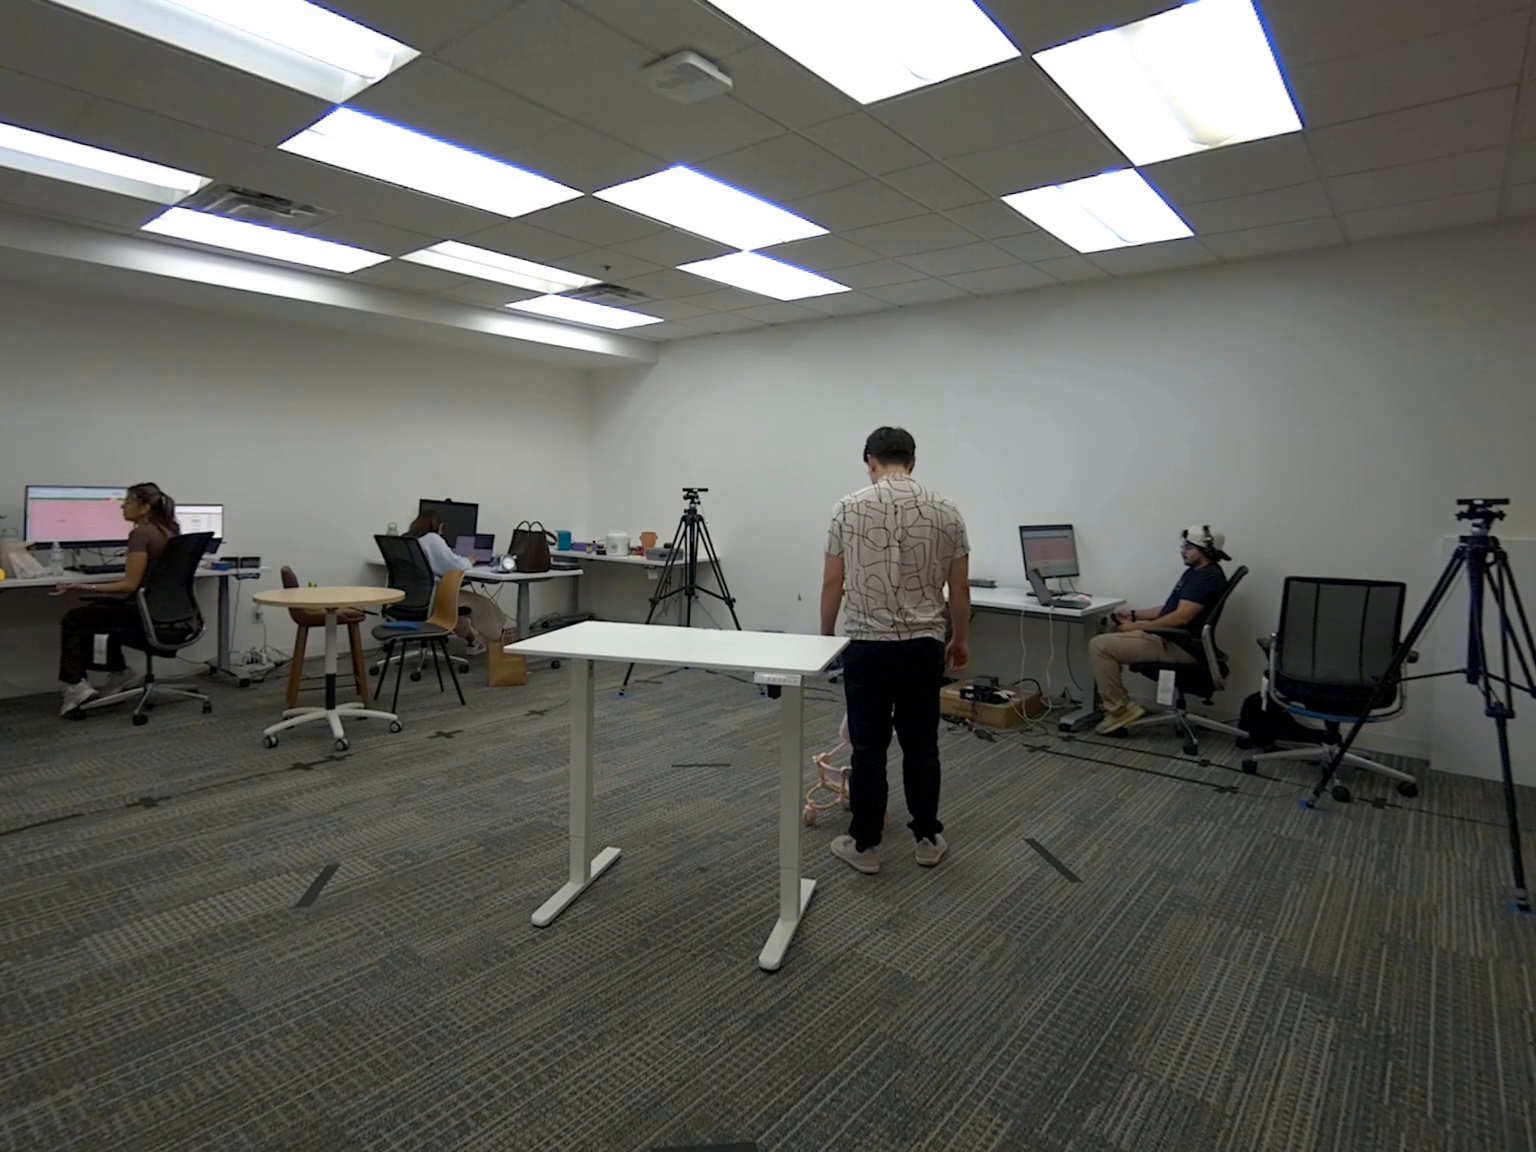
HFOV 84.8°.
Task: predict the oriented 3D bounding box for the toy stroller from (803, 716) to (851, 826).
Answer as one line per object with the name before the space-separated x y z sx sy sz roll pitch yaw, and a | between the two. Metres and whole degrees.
toy stroller | 0.339 0.805 3.605 0.334 0.535 0.287 16 -2 -17
